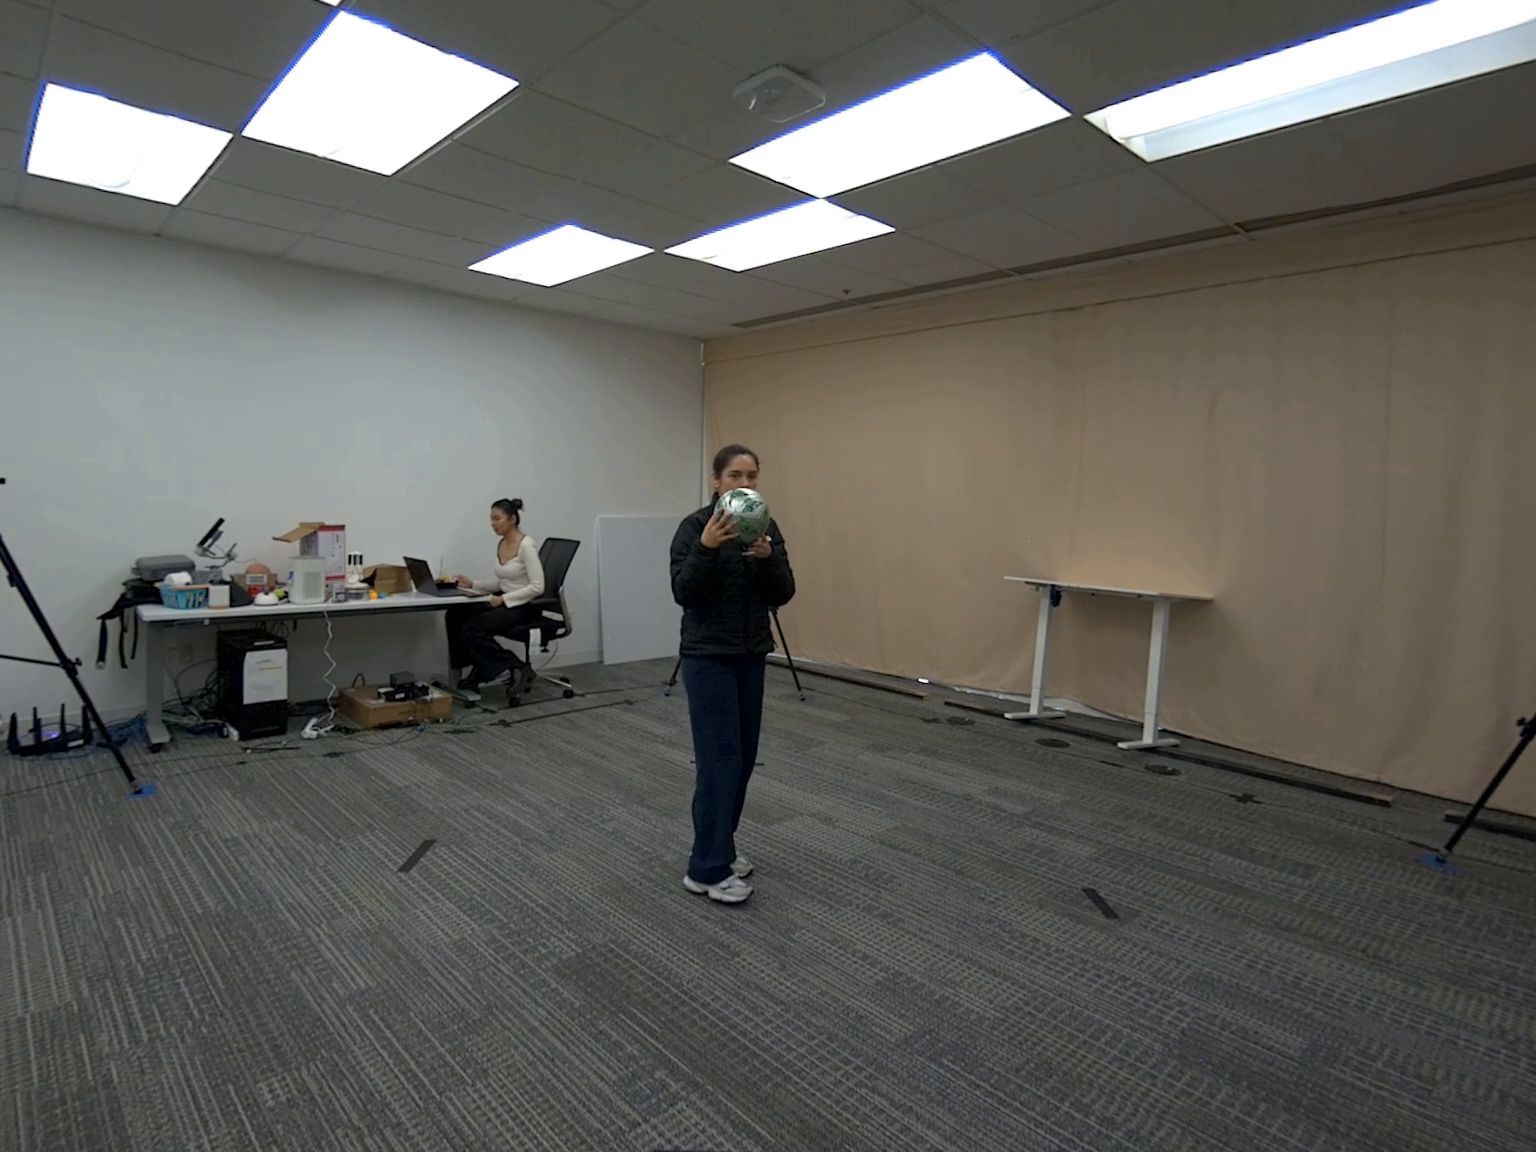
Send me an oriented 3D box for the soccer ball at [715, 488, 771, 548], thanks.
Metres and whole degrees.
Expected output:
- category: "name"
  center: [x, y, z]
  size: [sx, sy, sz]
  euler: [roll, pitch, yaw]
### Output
- category: "soccer ball"
  center: [-0.094, -0.192, 2.831]
  size: [0.187, 0.187, 0.188]
  euler: [1, 4, -1]
